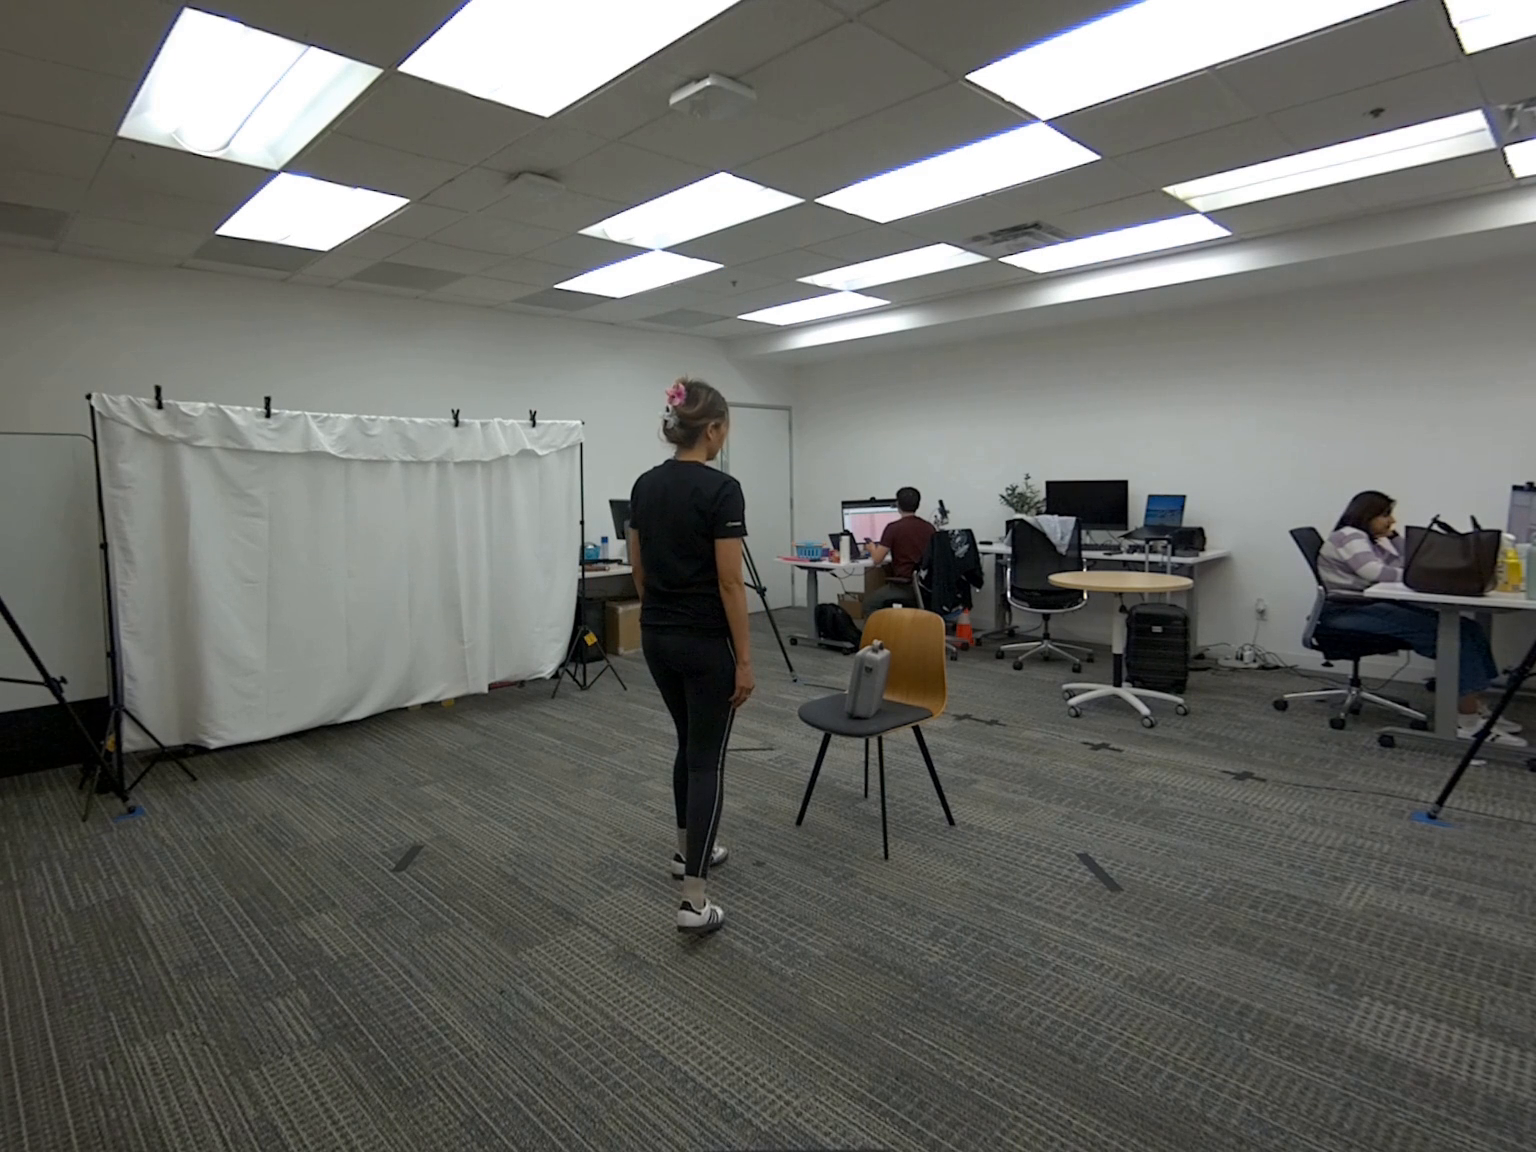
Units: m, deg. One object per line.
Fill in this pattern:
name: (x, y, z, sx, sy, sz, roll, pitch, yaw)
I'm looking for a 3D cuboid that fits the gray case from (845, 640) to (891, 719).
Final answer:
gray case: (0.399, 0.406, 3.351, 0.106, 0.260, 0.252, 9, 5, 19)
